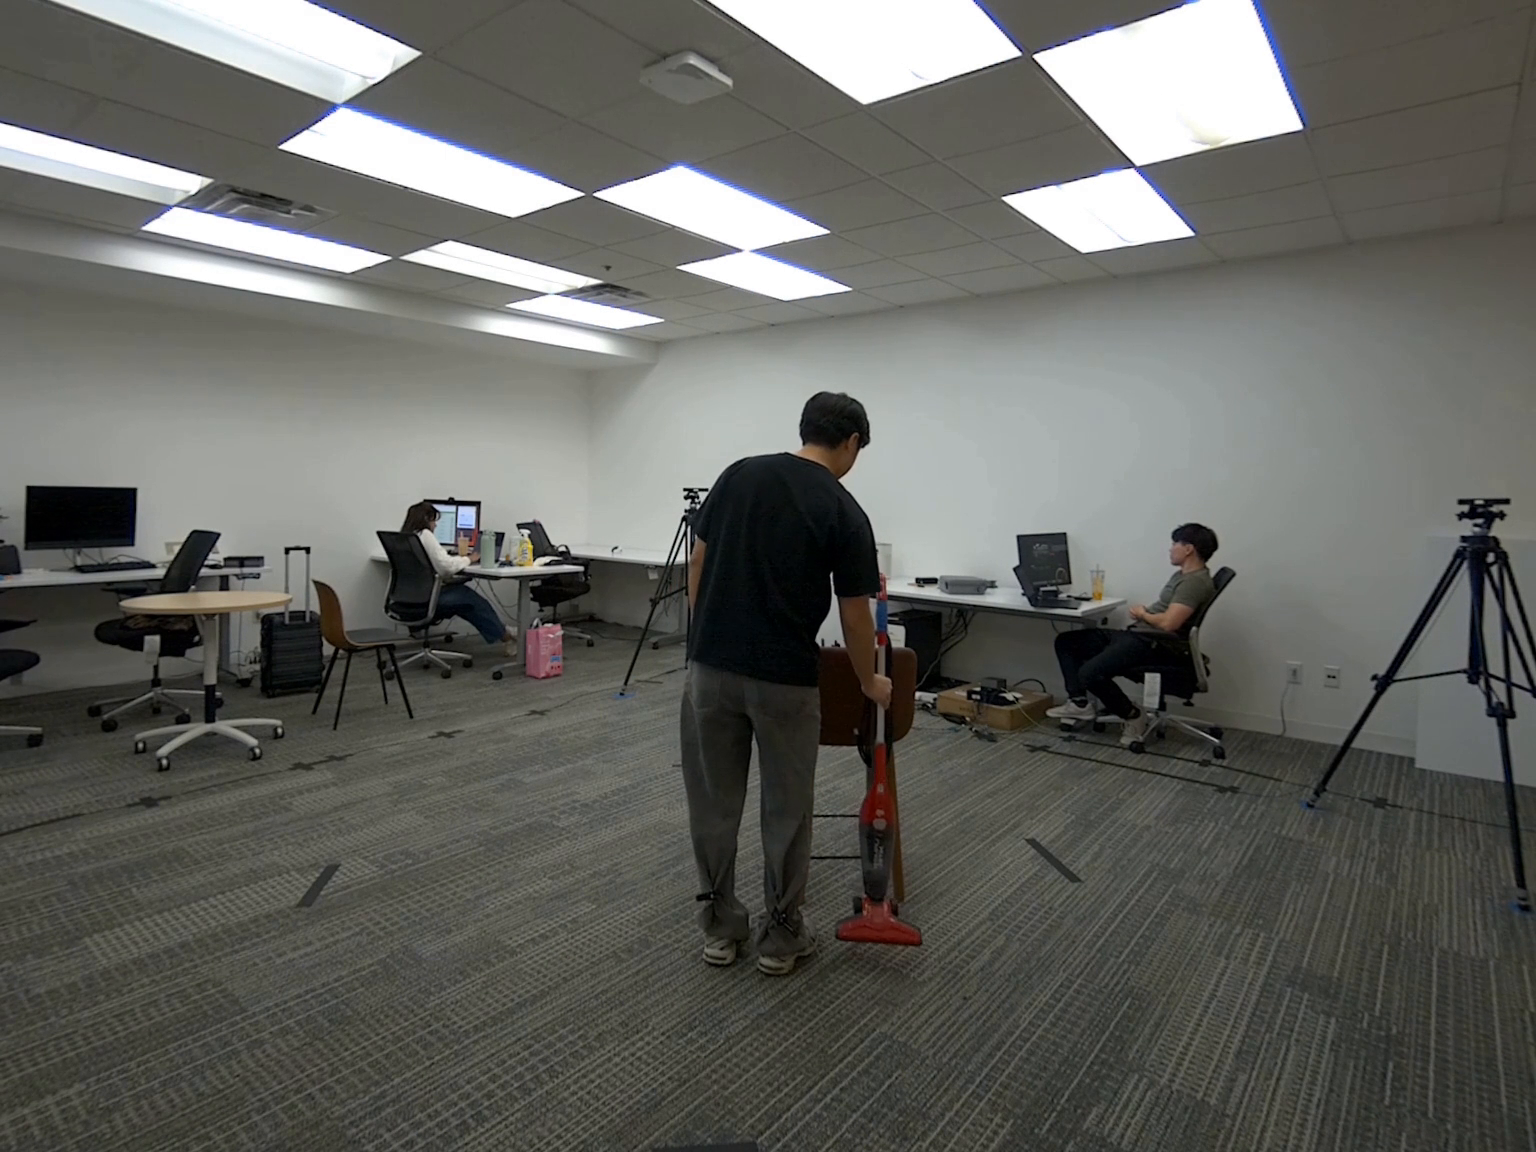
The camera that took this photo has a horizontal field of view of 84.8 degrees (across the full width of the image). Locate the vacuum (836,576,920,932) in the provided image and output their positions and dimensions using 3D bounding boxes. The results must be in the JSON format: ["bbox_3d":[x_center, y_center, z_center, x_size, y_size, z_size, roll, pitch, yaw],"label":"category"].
[{"bbox_3d":[0.341,0.513,2.656,0.249,1.062,0.144,5,-13,-14],"label":"vacuum"}]
